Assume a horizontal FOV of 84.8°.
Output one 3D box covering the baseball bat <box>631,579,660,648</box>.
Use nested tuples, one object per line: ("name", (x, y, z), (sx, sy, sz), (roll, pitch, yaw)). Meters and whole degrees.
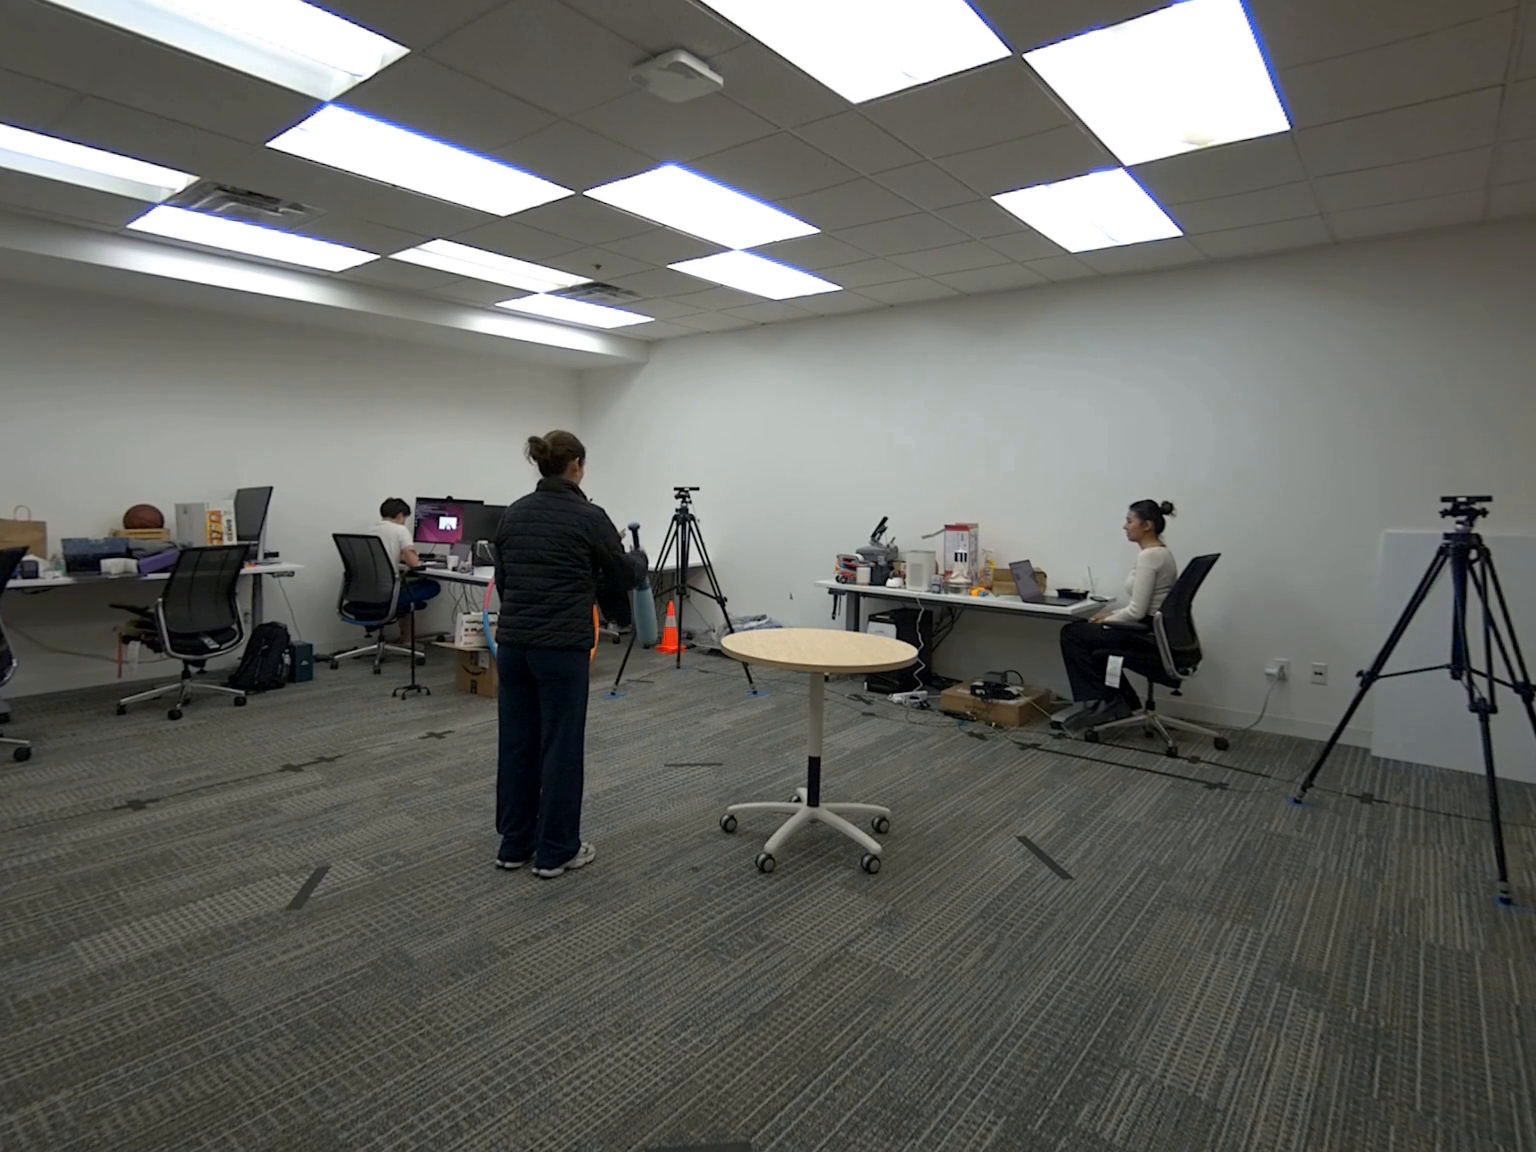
("baseball bat", (-0.528, 0.014, 3.597), (0.089, 0.533, 0.091), (-4, 18, 0))
